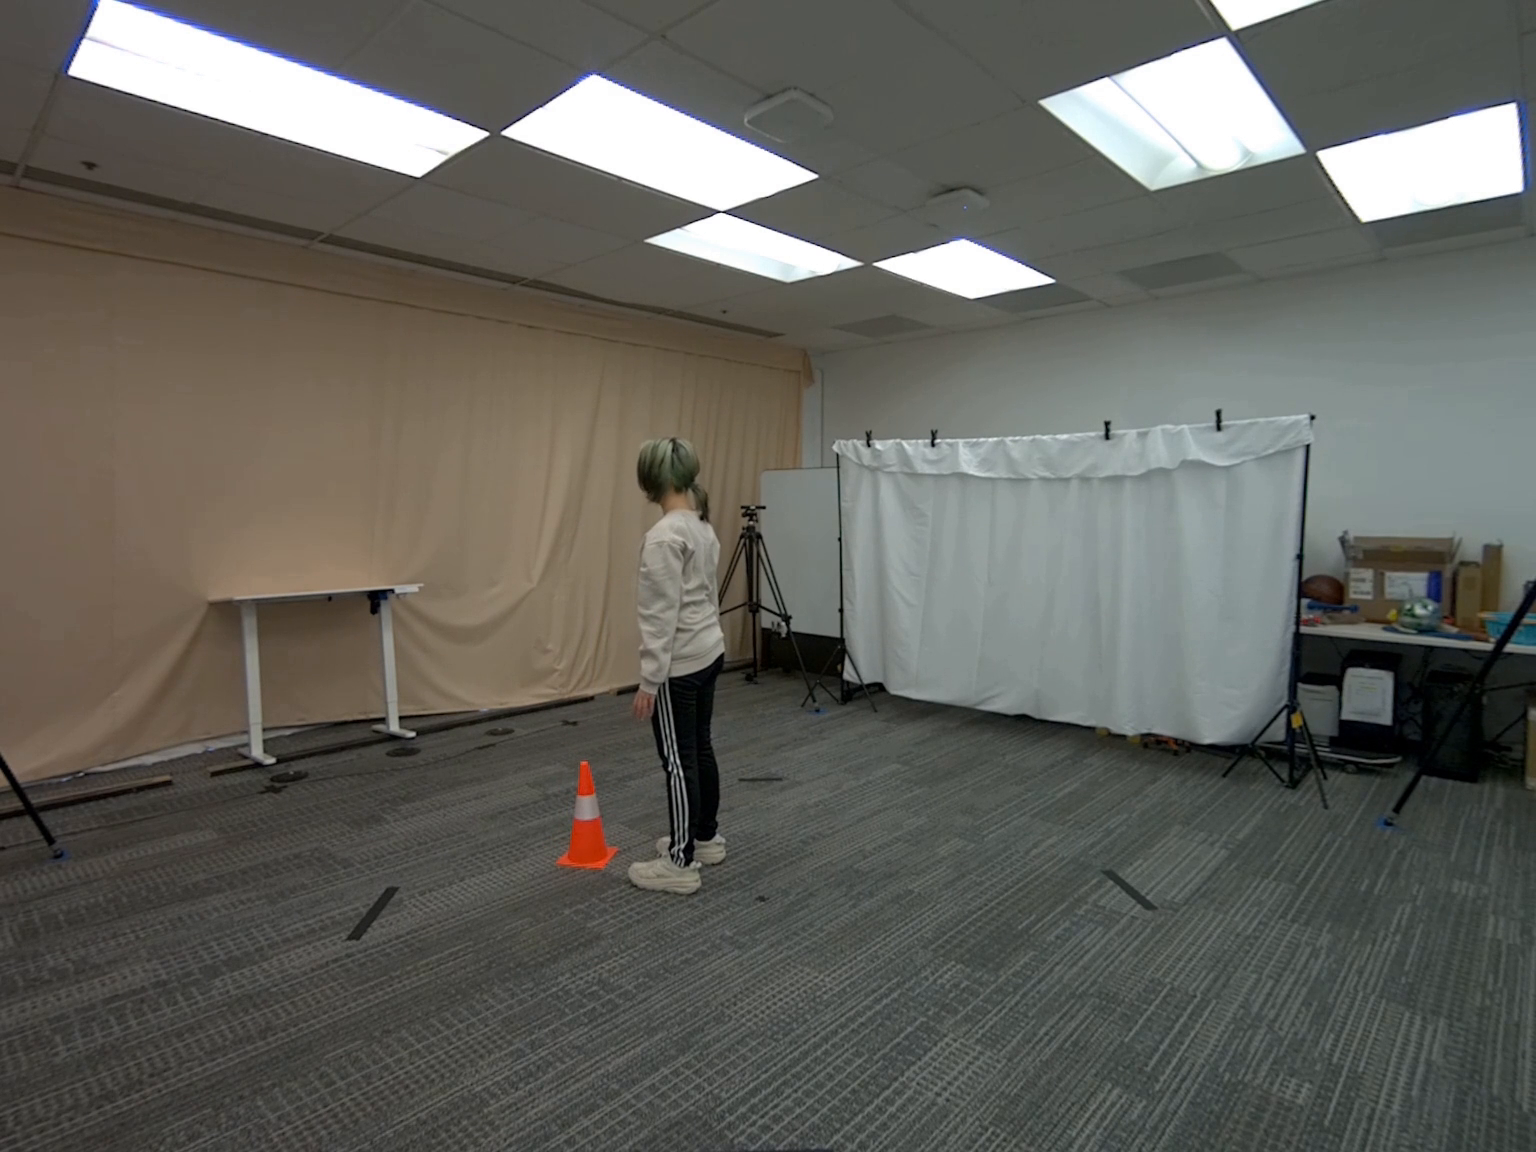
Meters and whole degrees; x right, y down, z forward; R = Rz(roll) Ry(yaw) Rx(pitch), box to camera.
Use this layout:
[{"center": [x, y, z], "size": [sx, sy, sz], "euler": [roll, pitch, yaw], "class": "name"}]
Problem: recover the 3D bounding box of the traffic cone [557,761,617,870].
[{"center": [-0.718, 0.935, 3.346], "size": [0.206, 0.382, 0.203], "euler": [0, 5, 4], "class": "traffic cone"}]
